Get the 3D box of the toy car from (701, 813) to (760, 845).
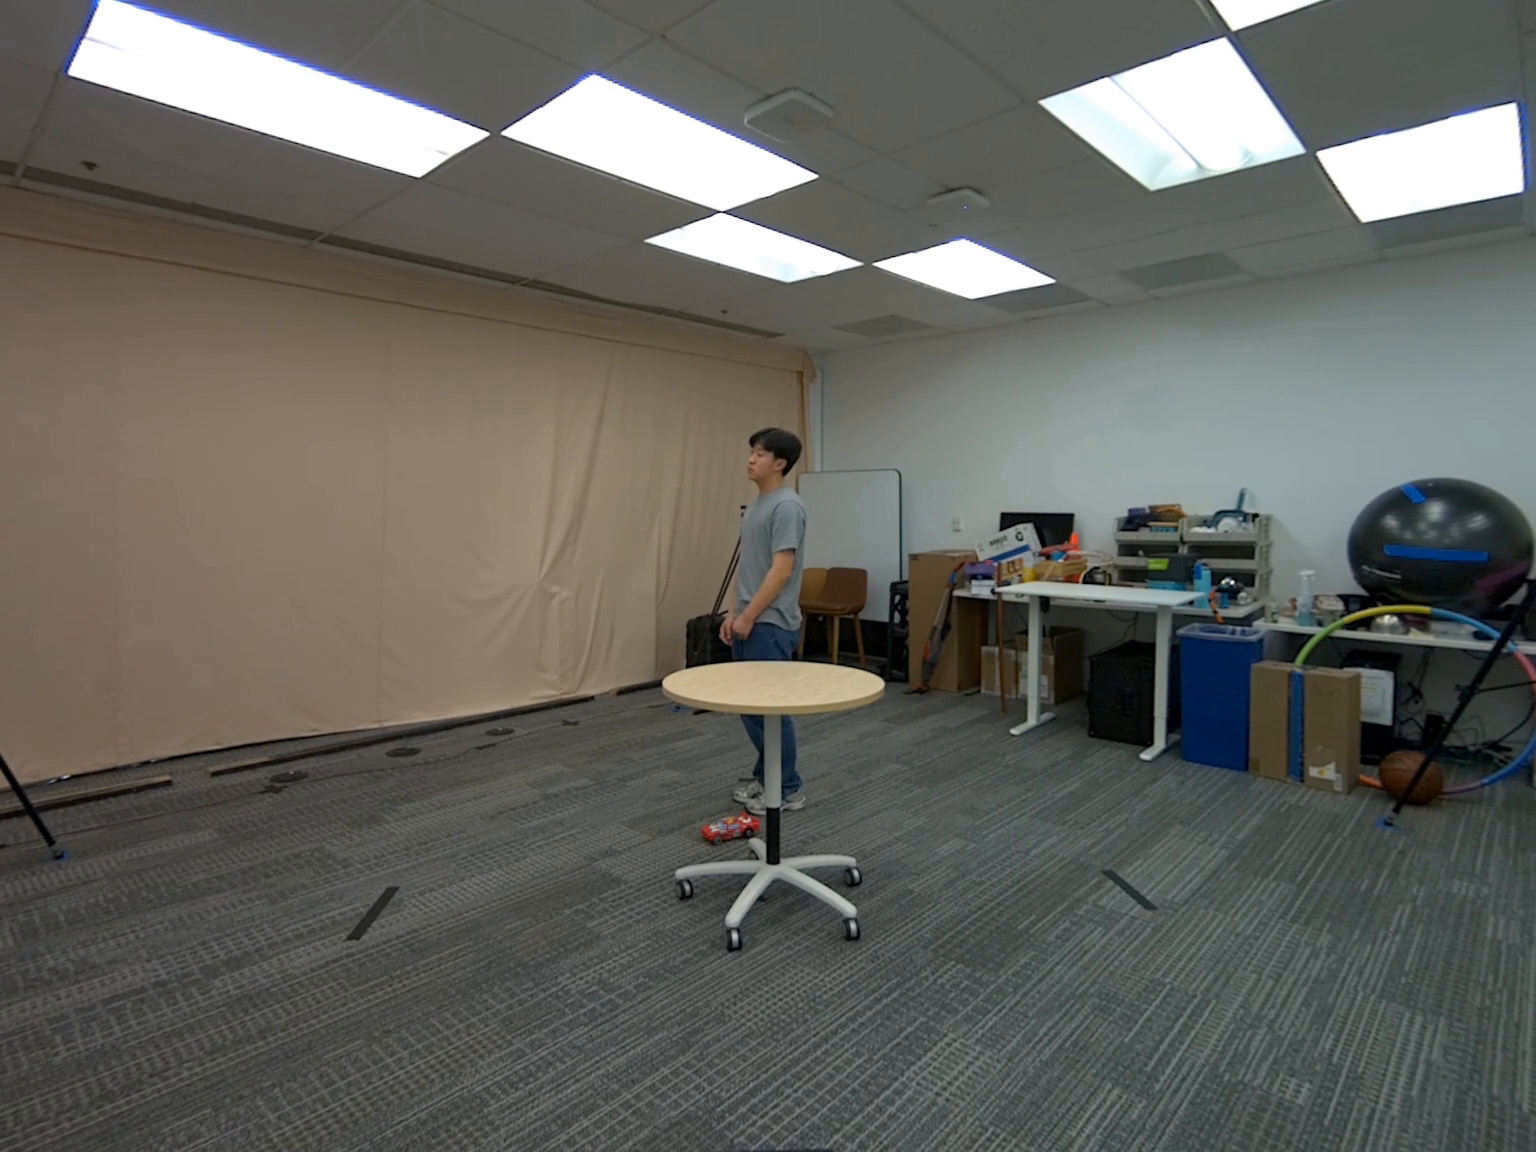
[{"bbox_3d":[-0.152,1.067,3.545,0.249,0.083,0.134,-15,10,-26],"label":"toy car"}]
